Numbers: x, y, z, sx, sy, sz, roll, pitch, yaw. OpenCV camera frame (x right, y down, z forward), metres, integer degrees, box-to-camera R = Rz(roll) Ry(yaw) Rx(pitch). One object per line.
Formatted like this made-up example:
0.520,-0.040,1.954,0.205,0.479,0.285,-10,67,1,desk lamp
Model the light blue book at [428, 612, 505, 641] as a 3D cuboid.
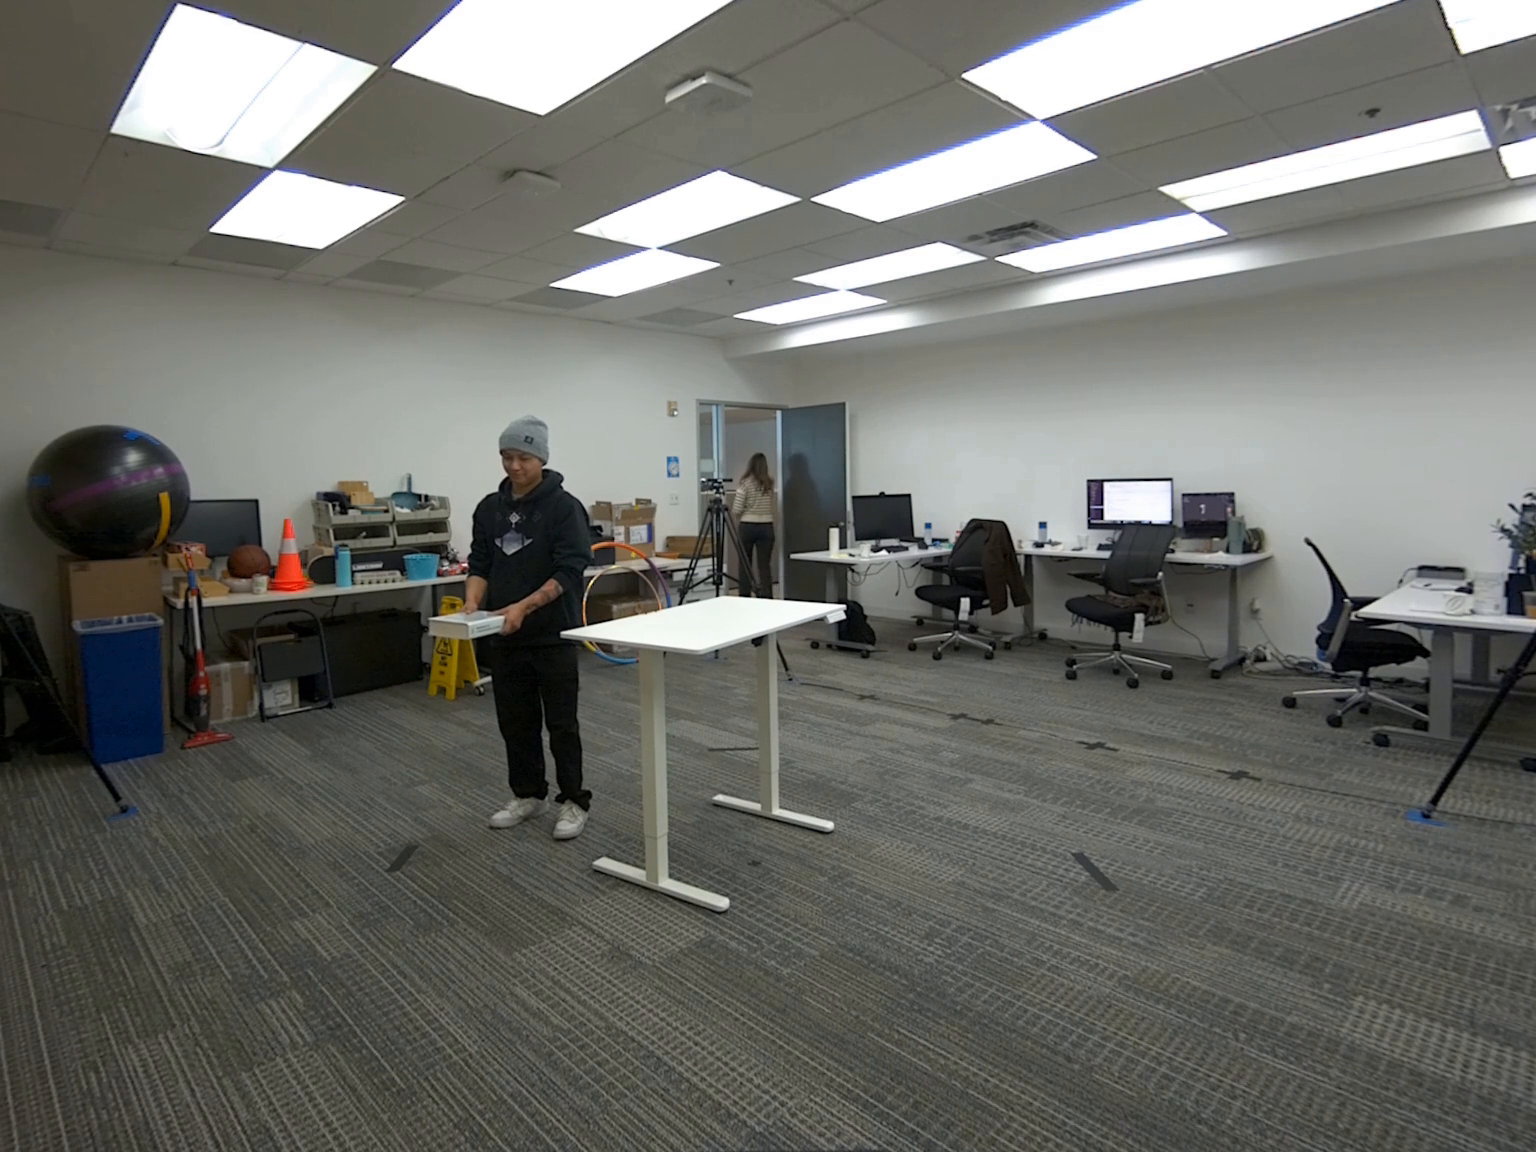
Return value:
-1.109,0.182,3.162,0.195,0.059,0.256,5,6,20,light blue book
